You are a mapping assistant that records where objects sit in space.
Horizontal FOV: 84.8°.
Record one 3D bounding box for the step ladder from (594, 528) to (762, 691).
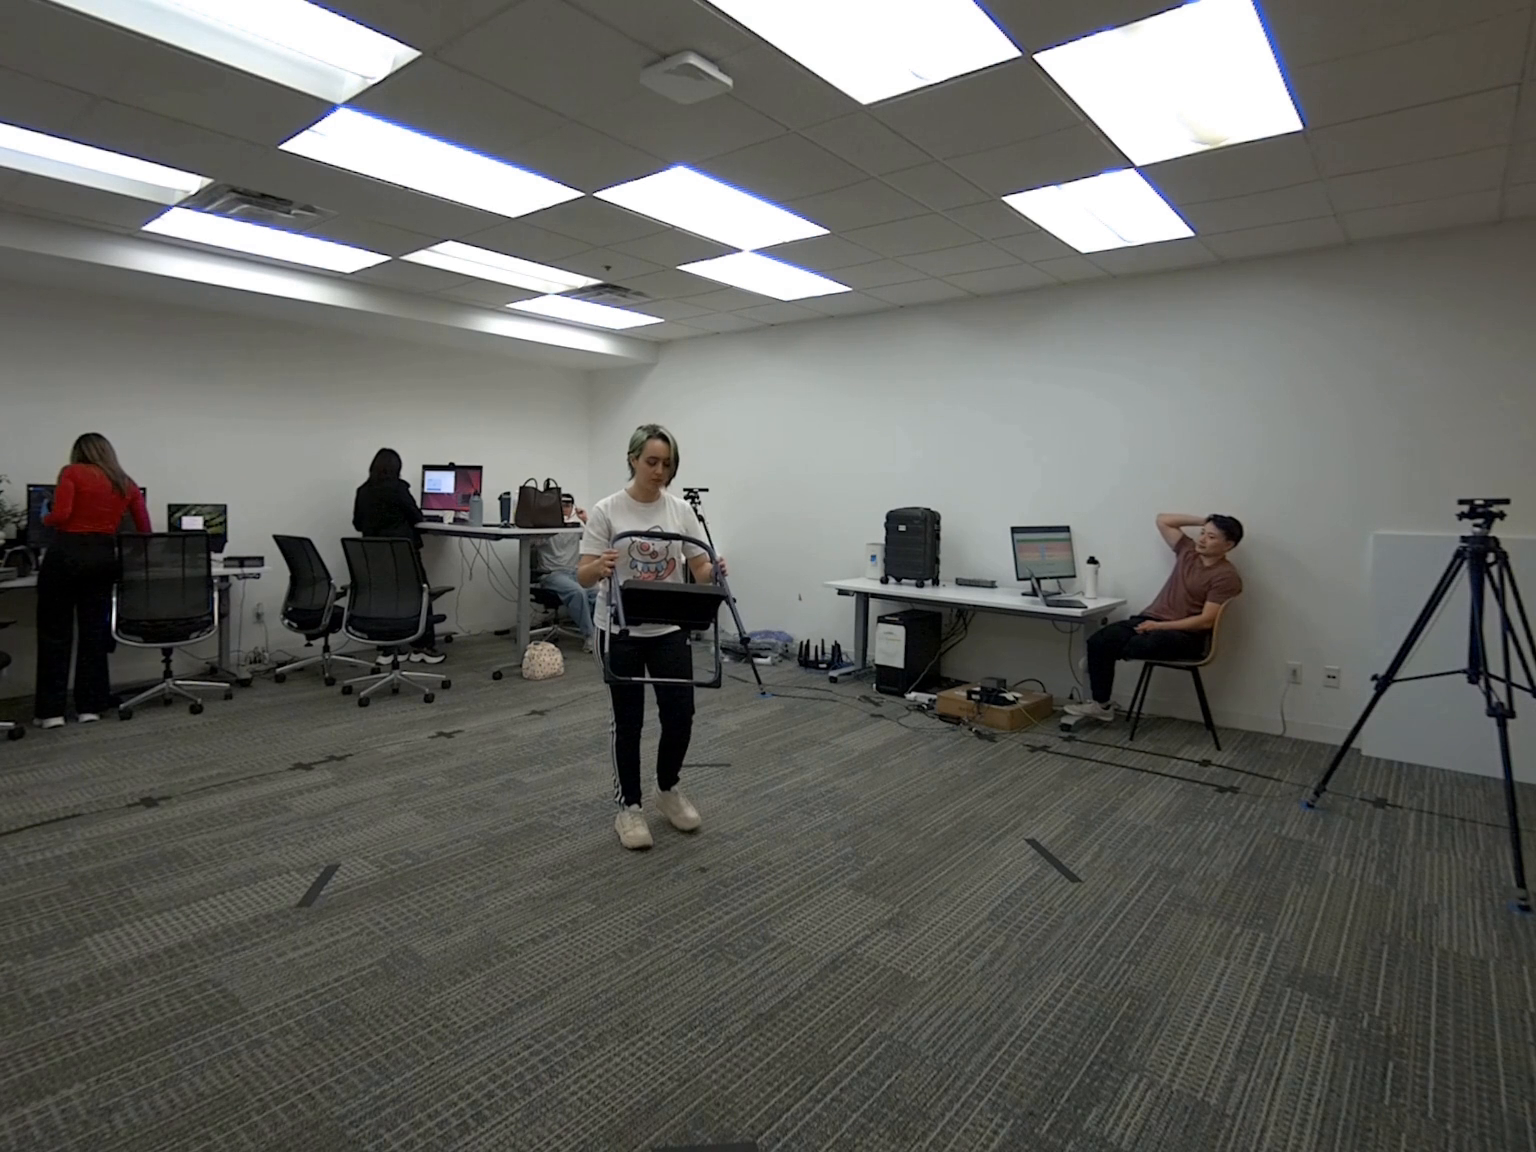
[{"bbox_3d":[-0.347,0.039,2.992,0.422,0.626,0.345,4,-39,-18],"label":"step ladder"}]
